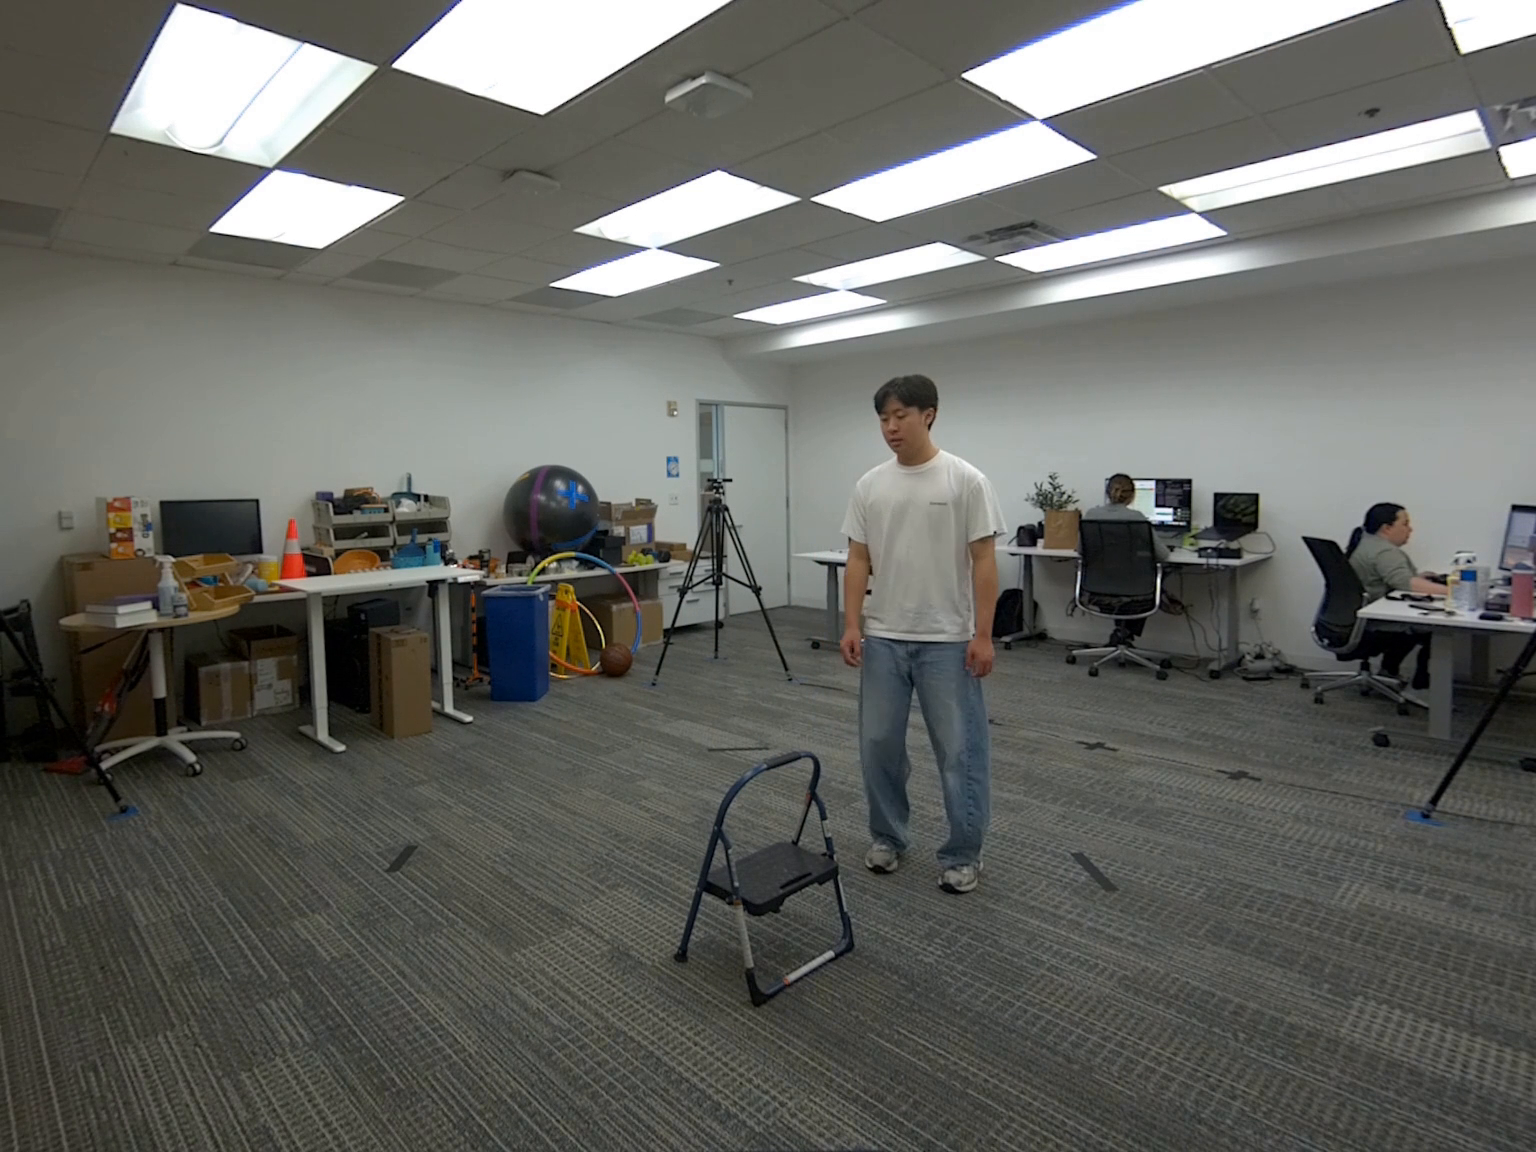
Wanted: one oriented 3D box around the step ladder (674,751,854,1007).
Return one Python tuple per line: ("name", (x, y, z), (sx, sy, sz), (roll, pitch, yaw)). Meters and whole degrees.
("step ladder", (-0.009, 0.810, 2.502), (0.360, 0.604, 0.419), (3, 6, 45))
